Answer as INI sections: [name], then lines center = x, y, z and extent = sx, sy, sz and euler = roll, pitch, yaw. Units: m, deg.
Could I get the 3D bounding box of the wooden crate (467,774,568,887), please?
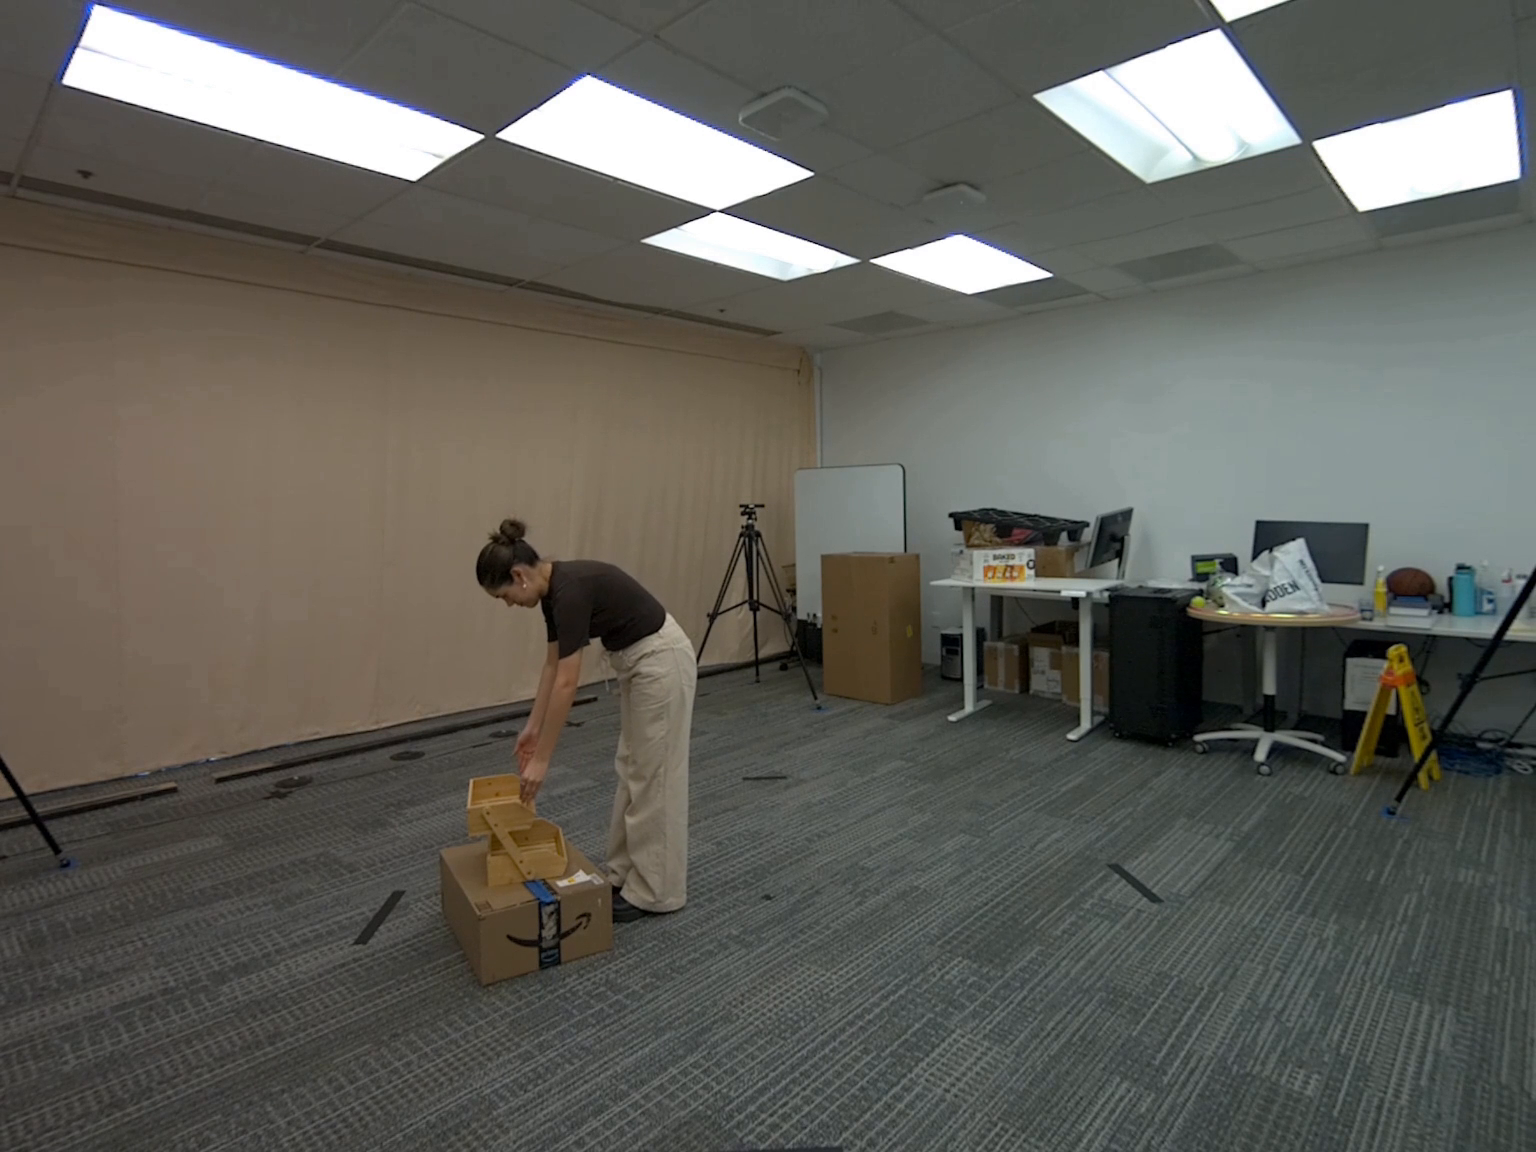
[wooden crate]
center = -0.824, 0.823, 2.804
extent = 0.297, 0.273, 0.330
euler = -3, 4, -16
